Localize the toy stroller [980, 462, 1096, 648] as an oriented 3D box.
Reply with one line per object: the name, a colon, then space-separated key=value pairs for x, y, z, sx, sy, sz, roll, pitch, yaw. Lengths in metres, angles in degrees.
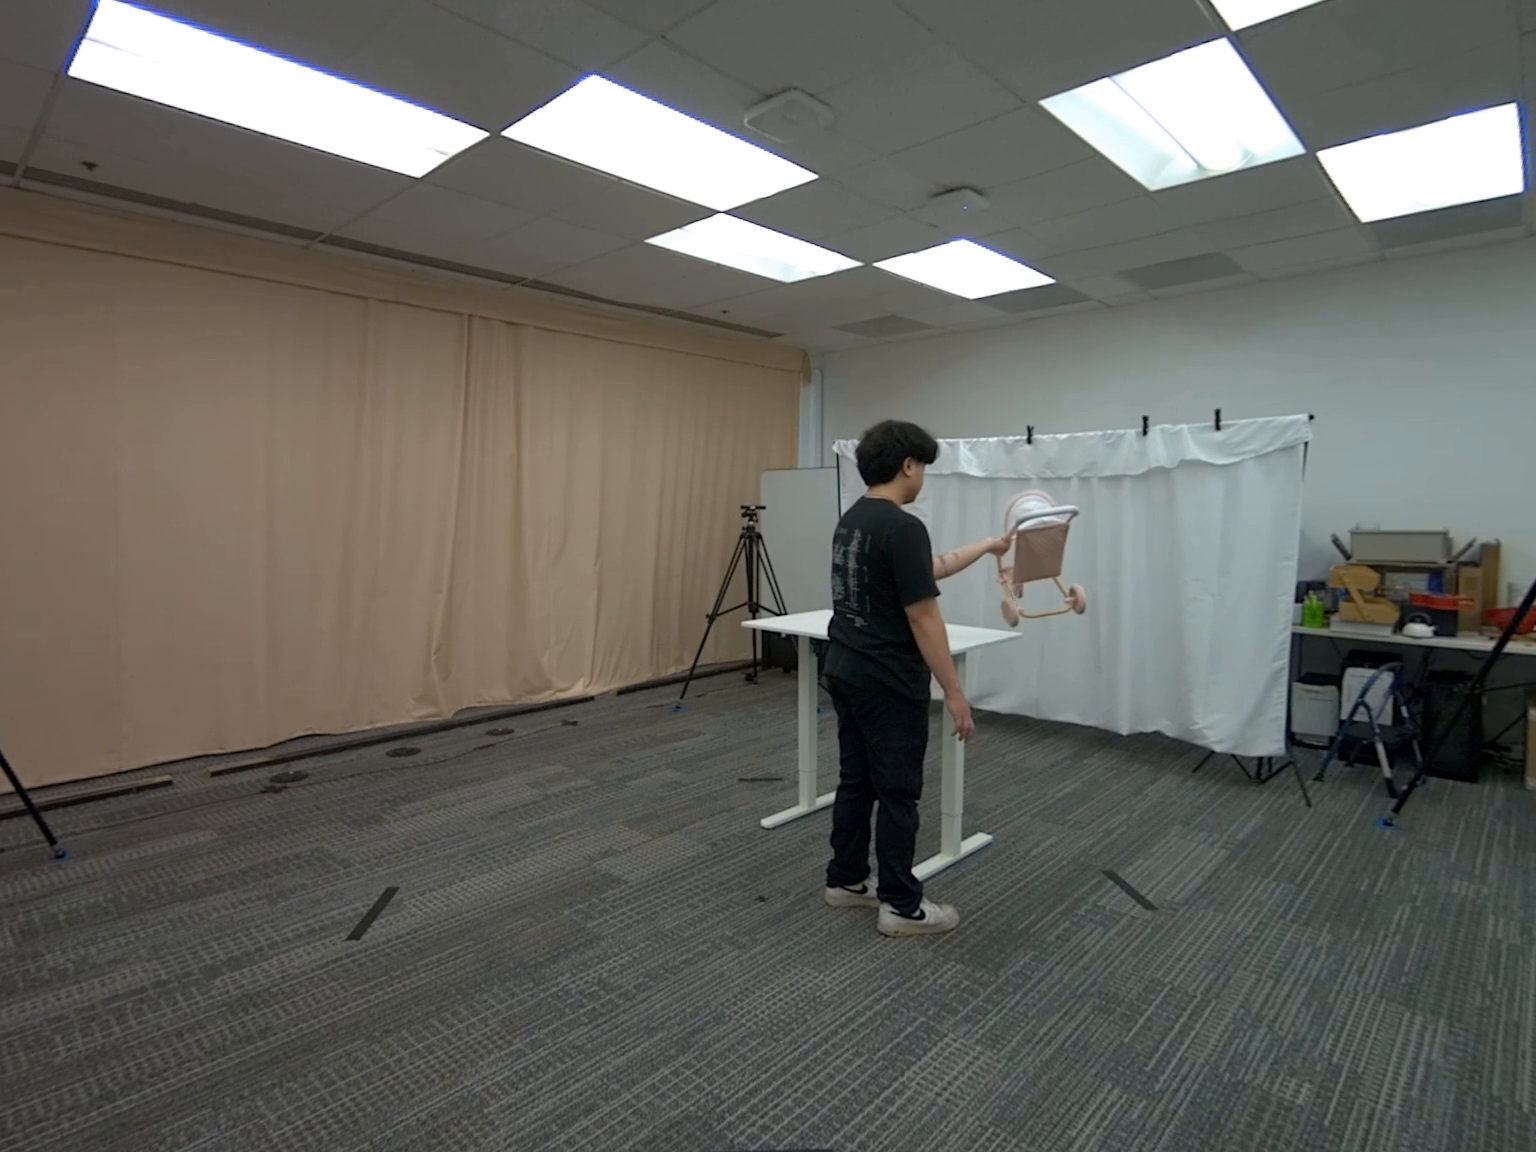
toy stroller: x=0.957 y=-0.078 z=3.039 sx=0.283 sy=0.524 sz=0.346 roll=-8 pitch=28 yaw=4
